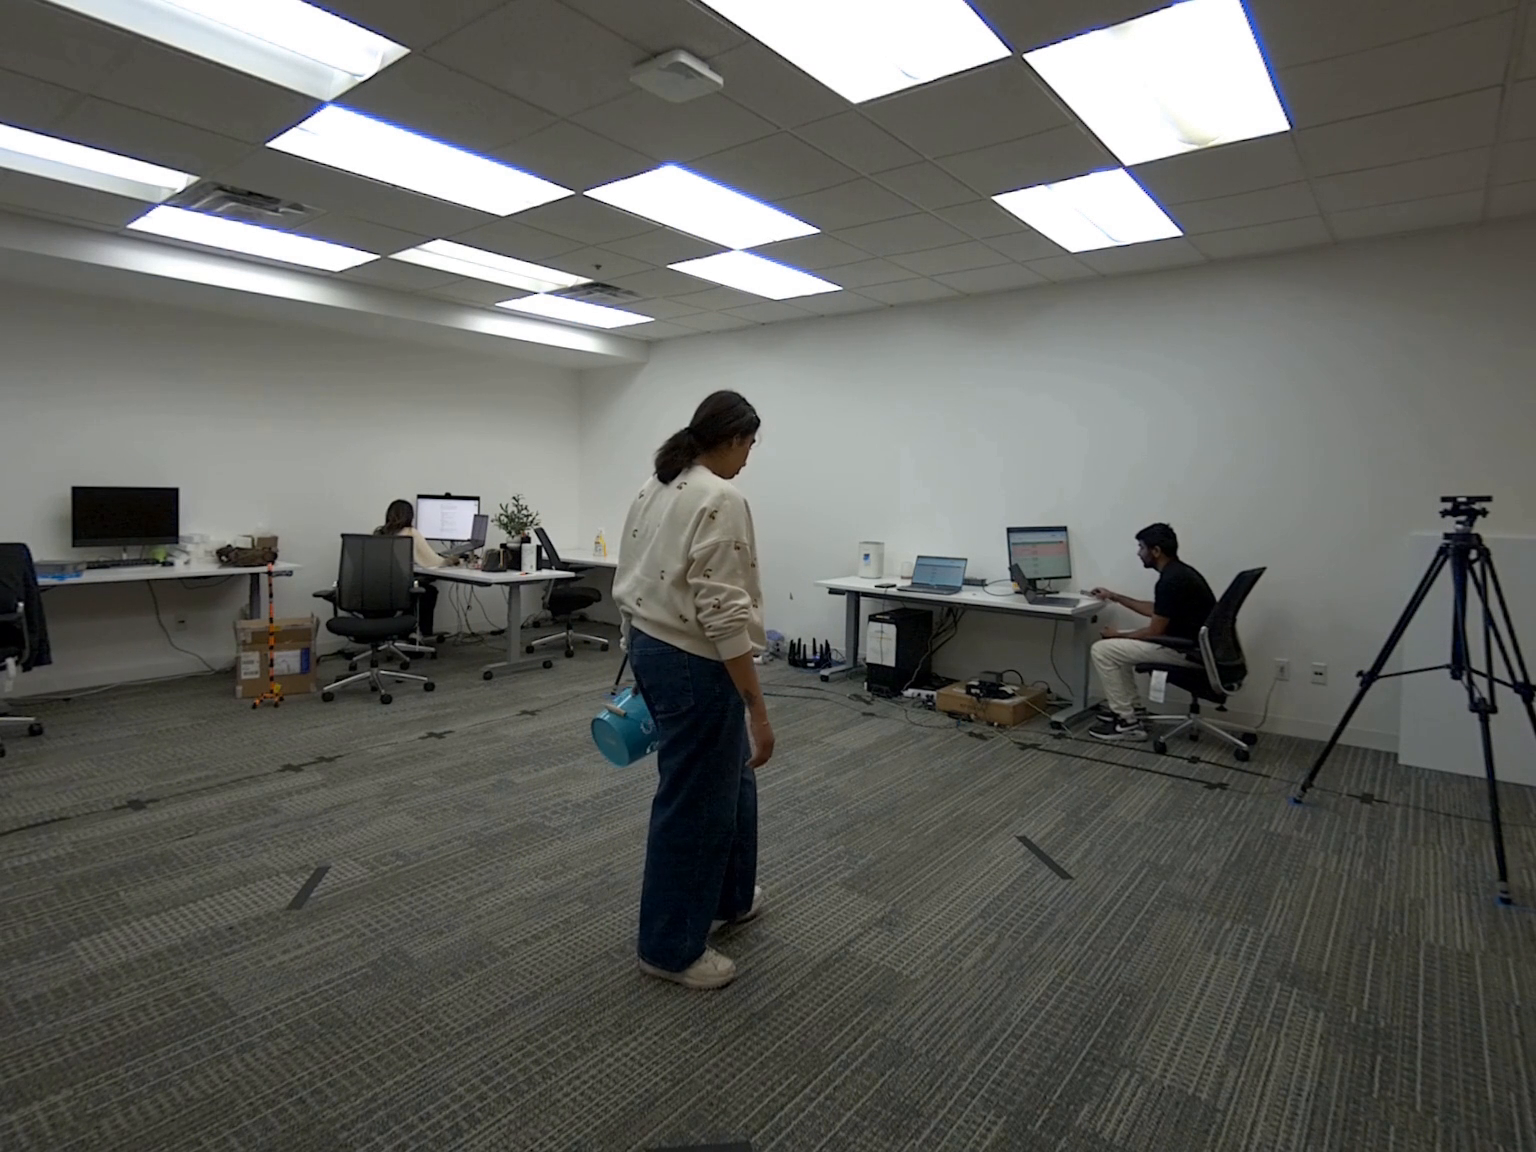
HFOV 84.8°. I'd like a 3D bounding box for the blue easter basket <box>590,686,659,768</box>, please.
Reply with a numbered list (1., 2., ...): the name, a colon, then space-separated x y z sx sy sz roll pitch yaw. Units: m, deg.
1. blue easter basket: -0.442 0.479 2.728 0.252 0.239 0.154 5 25 44
